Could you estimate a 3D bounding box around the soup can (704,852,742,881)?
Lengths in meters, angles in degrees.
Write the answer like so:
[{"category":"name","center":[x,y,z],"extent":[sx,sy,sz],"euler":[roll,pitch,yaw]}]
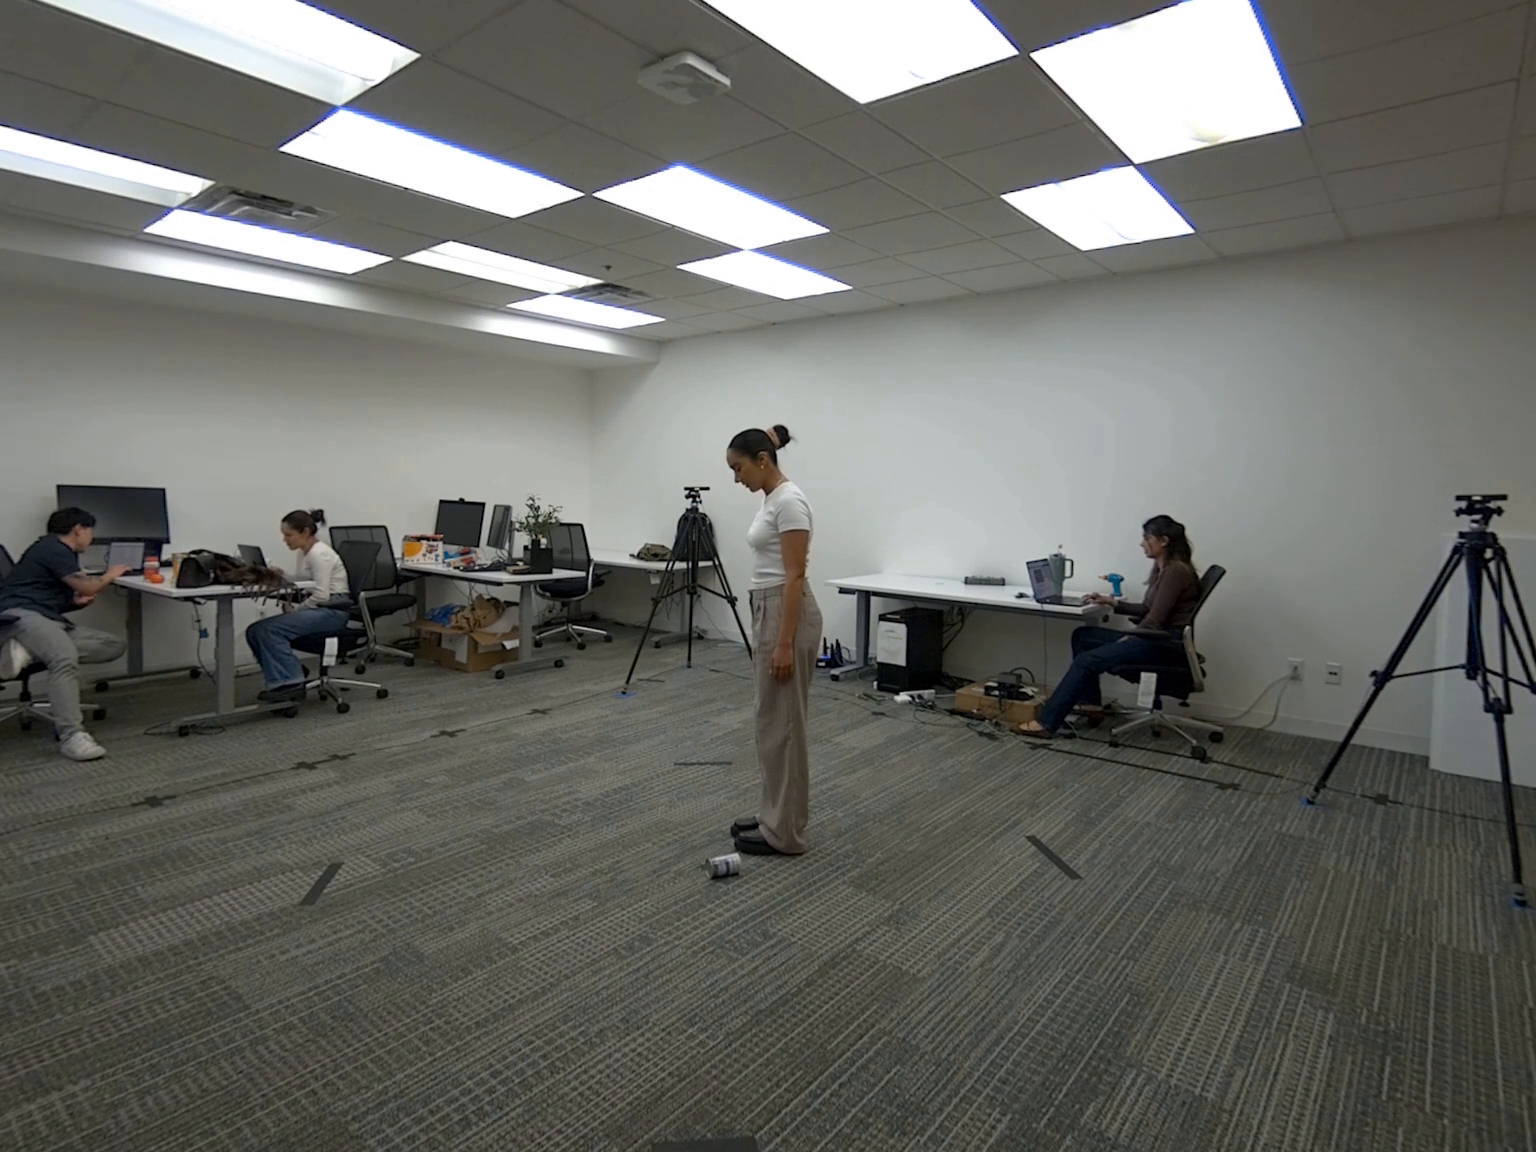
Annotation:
[{"category":"soup can","center":[-0.166,1.031,3.055],"extent":[0.119,0.067,0.069],"euler":[-6,7,-28]}]
